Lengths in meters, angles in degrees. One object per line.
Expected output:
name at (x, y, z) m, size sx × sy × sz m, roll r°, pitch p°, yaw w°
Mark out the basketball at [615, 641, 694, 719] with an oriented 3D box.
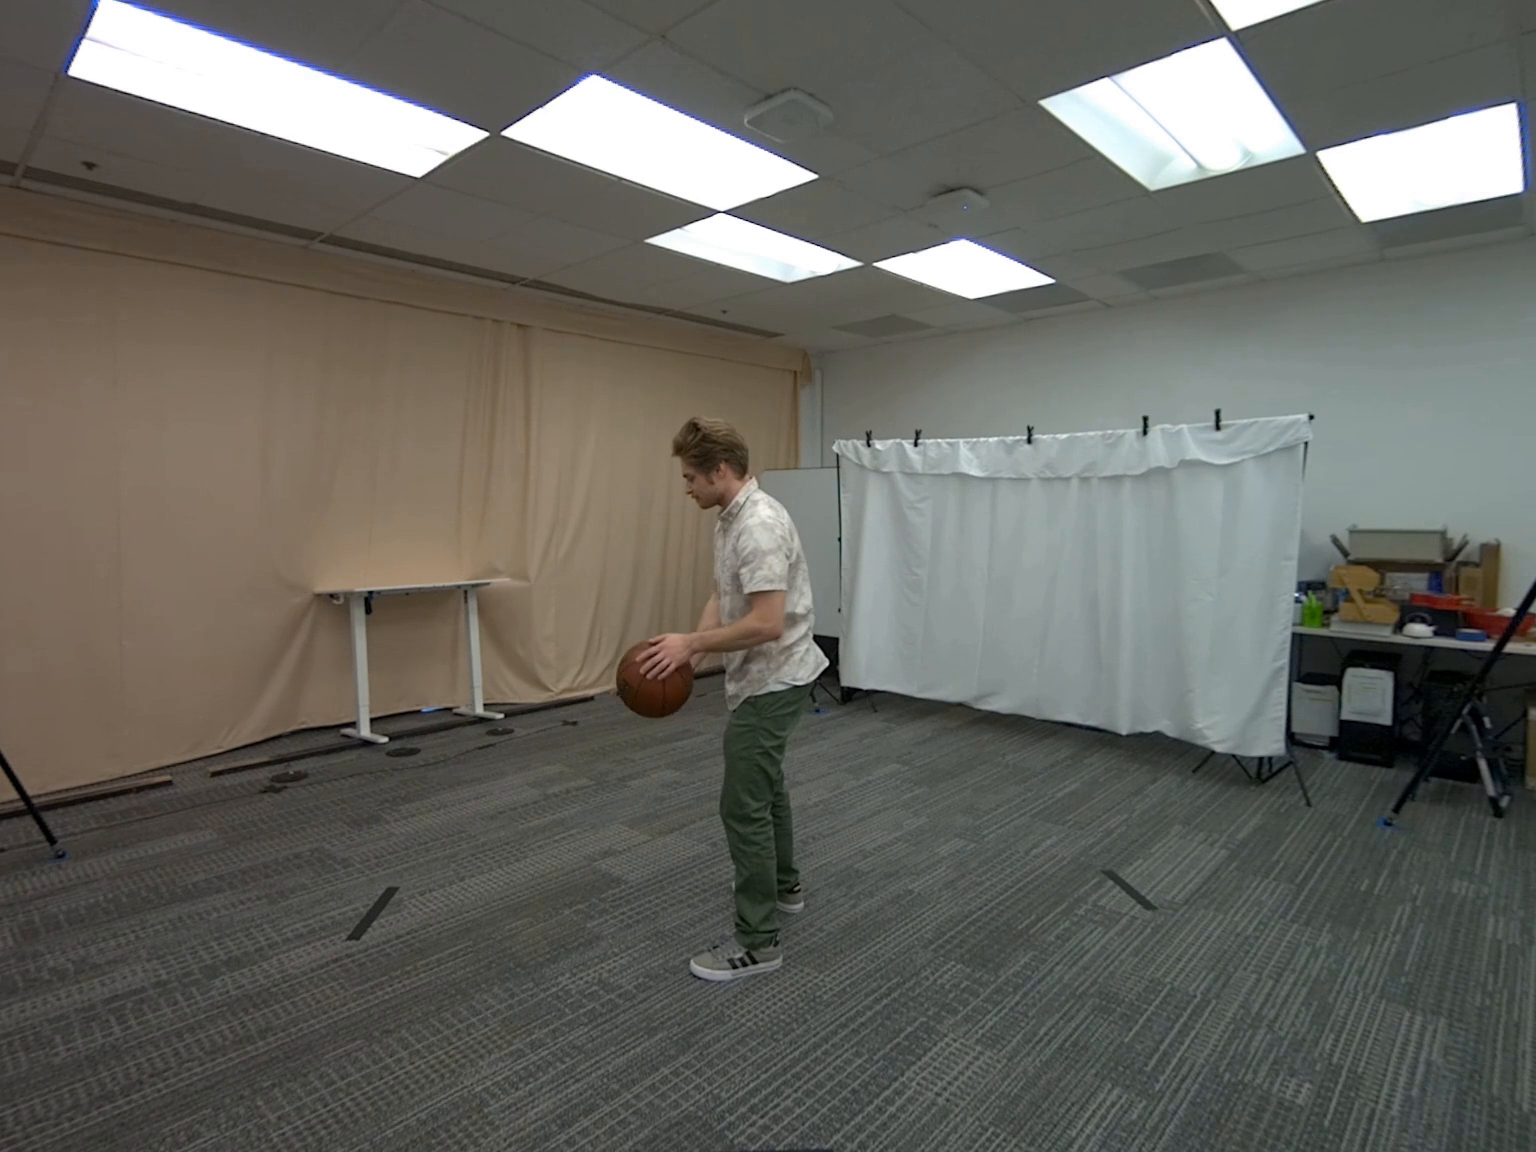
basketball at (-0.340, 0.312, 2.584) m, size 0.236 × 0.235 × 0.237 m, roll 0°, pitch 4°, yaw -2°
